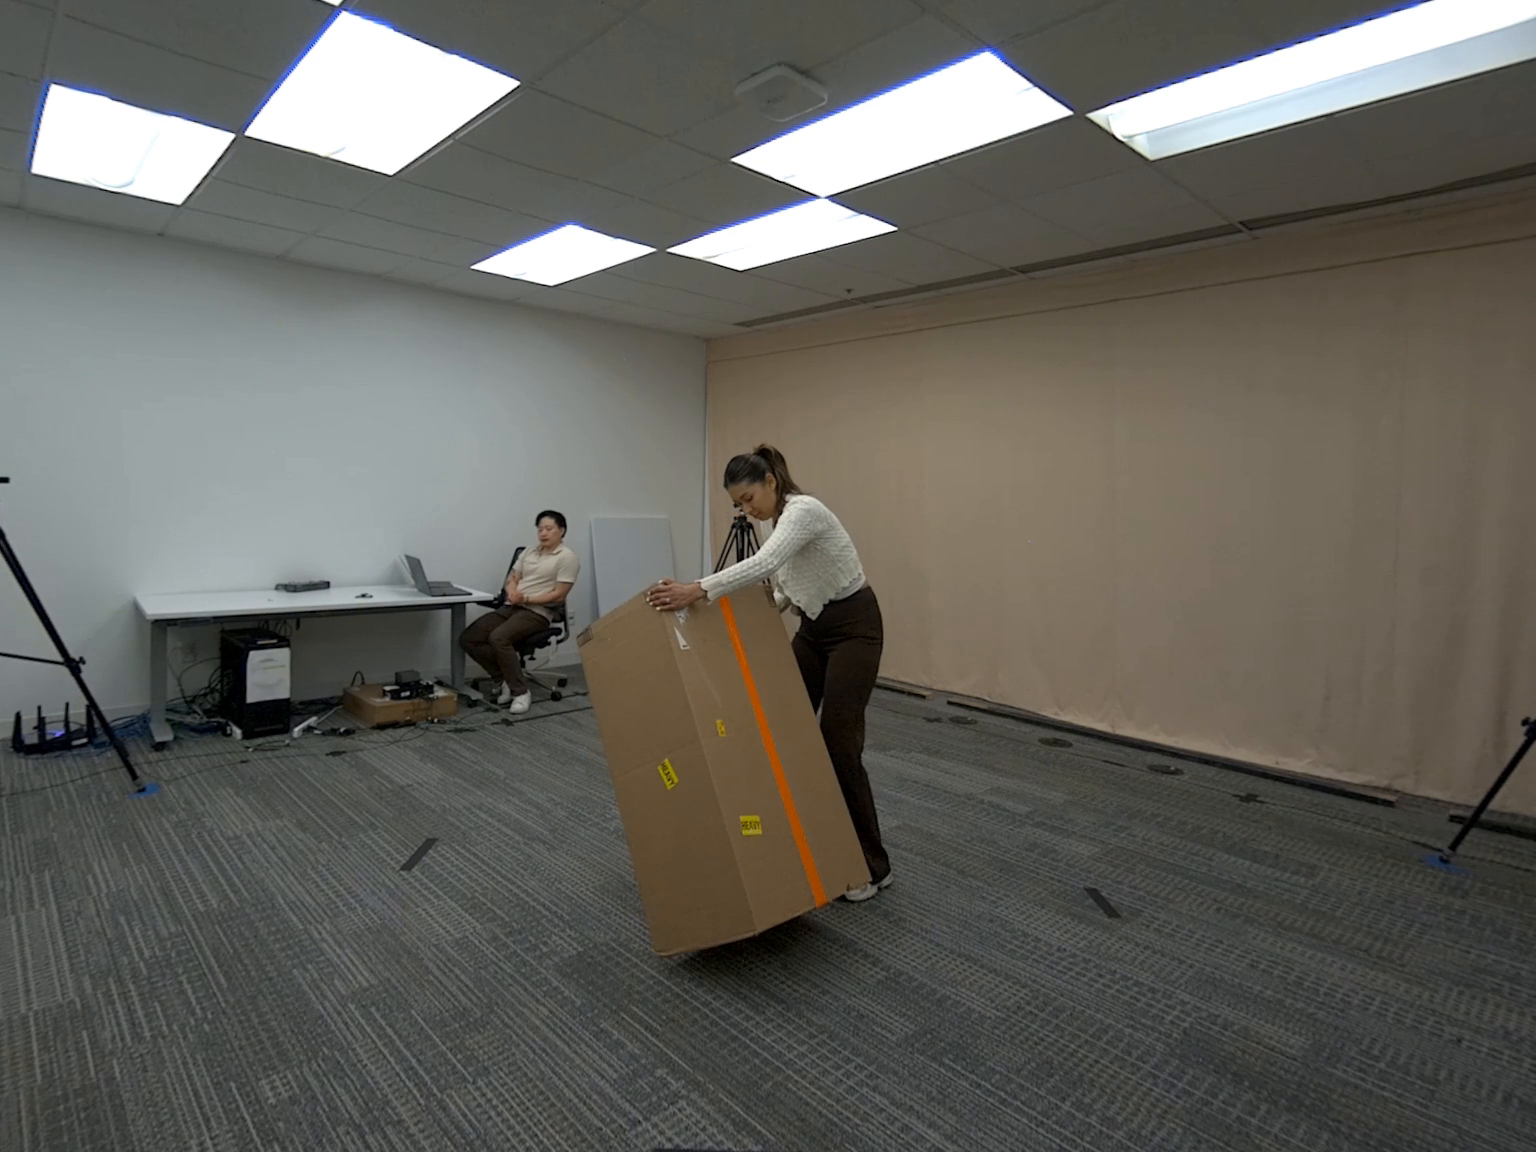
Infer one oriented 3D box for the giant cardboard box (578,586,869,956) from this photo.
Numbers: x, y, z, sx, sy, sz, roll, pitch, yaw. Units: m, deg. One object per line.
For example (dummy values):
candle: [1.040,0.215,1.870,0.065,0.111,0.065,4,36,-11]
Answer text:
giant cardboard box: [-0.163,0.582,2.723,0.429,1.044,0.563,-32,-22,34]
